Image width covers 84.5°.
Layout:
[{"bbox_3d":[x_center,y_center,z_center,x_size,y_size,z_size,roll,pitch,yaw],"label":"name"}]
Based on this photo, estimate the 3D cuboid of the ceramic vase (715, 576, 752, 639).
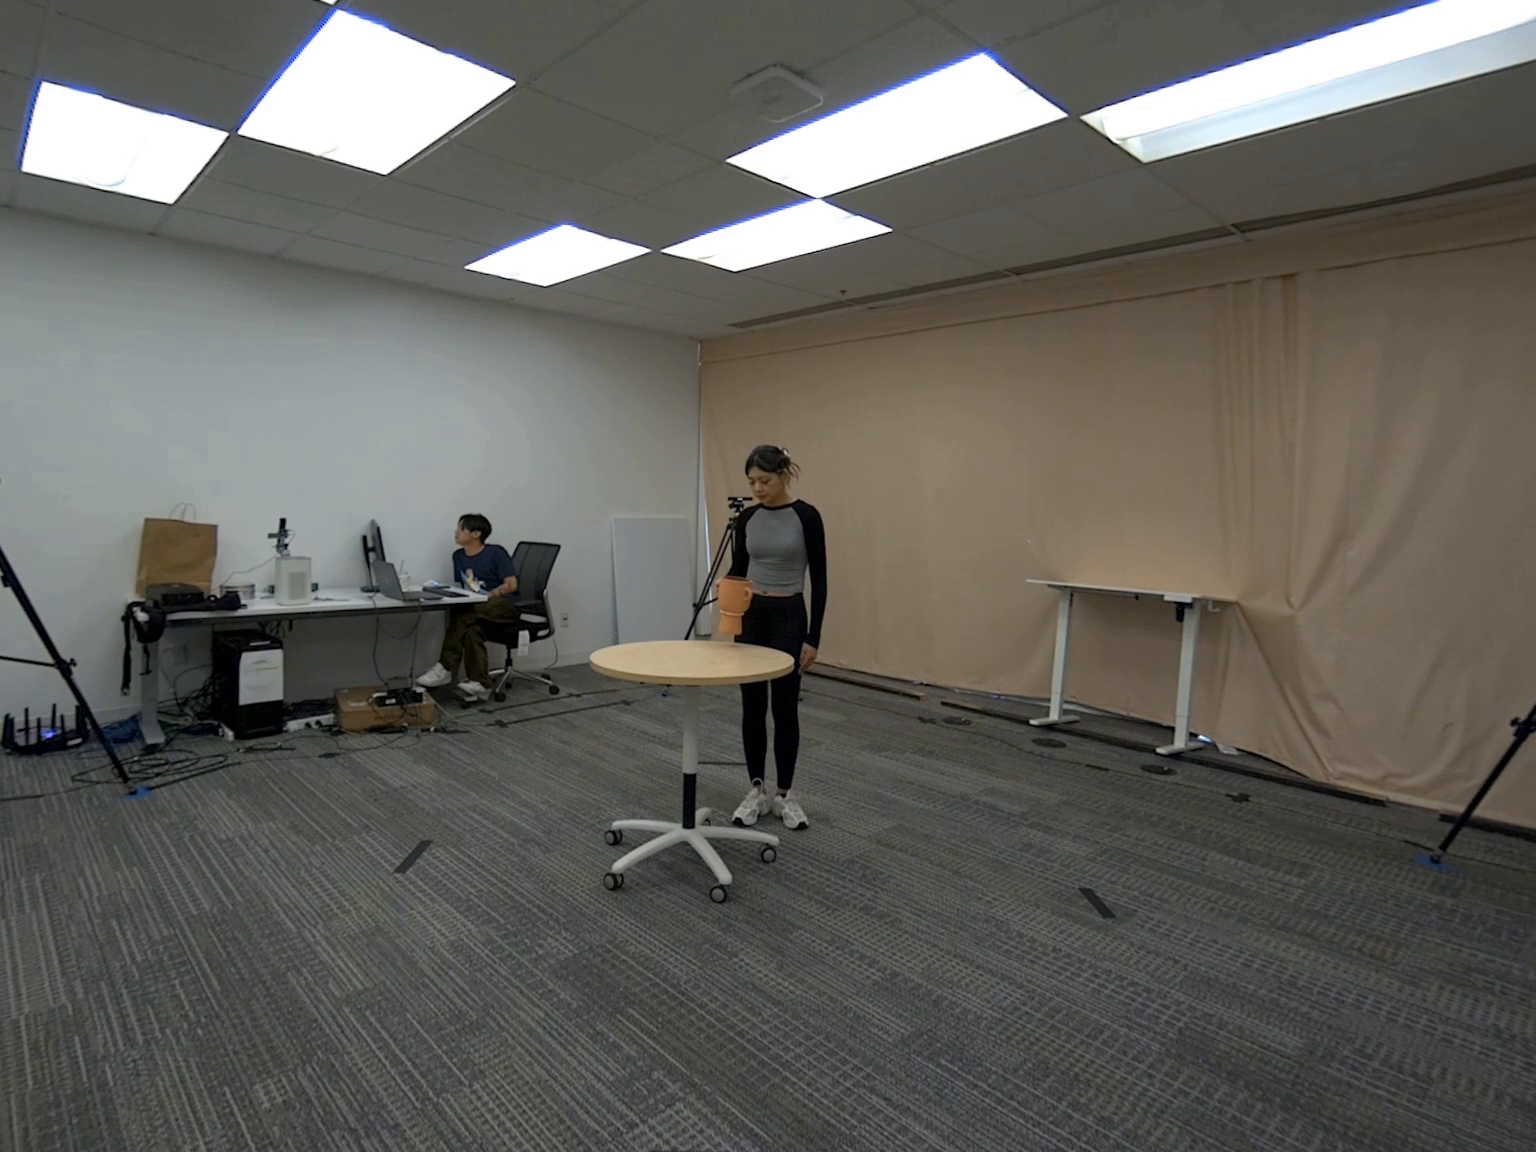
[{"bbox_3d":[-0.133,0.126,3.411,0.134,0.219,0.160,7,5,-4],"label":"ceramic vase"}]
